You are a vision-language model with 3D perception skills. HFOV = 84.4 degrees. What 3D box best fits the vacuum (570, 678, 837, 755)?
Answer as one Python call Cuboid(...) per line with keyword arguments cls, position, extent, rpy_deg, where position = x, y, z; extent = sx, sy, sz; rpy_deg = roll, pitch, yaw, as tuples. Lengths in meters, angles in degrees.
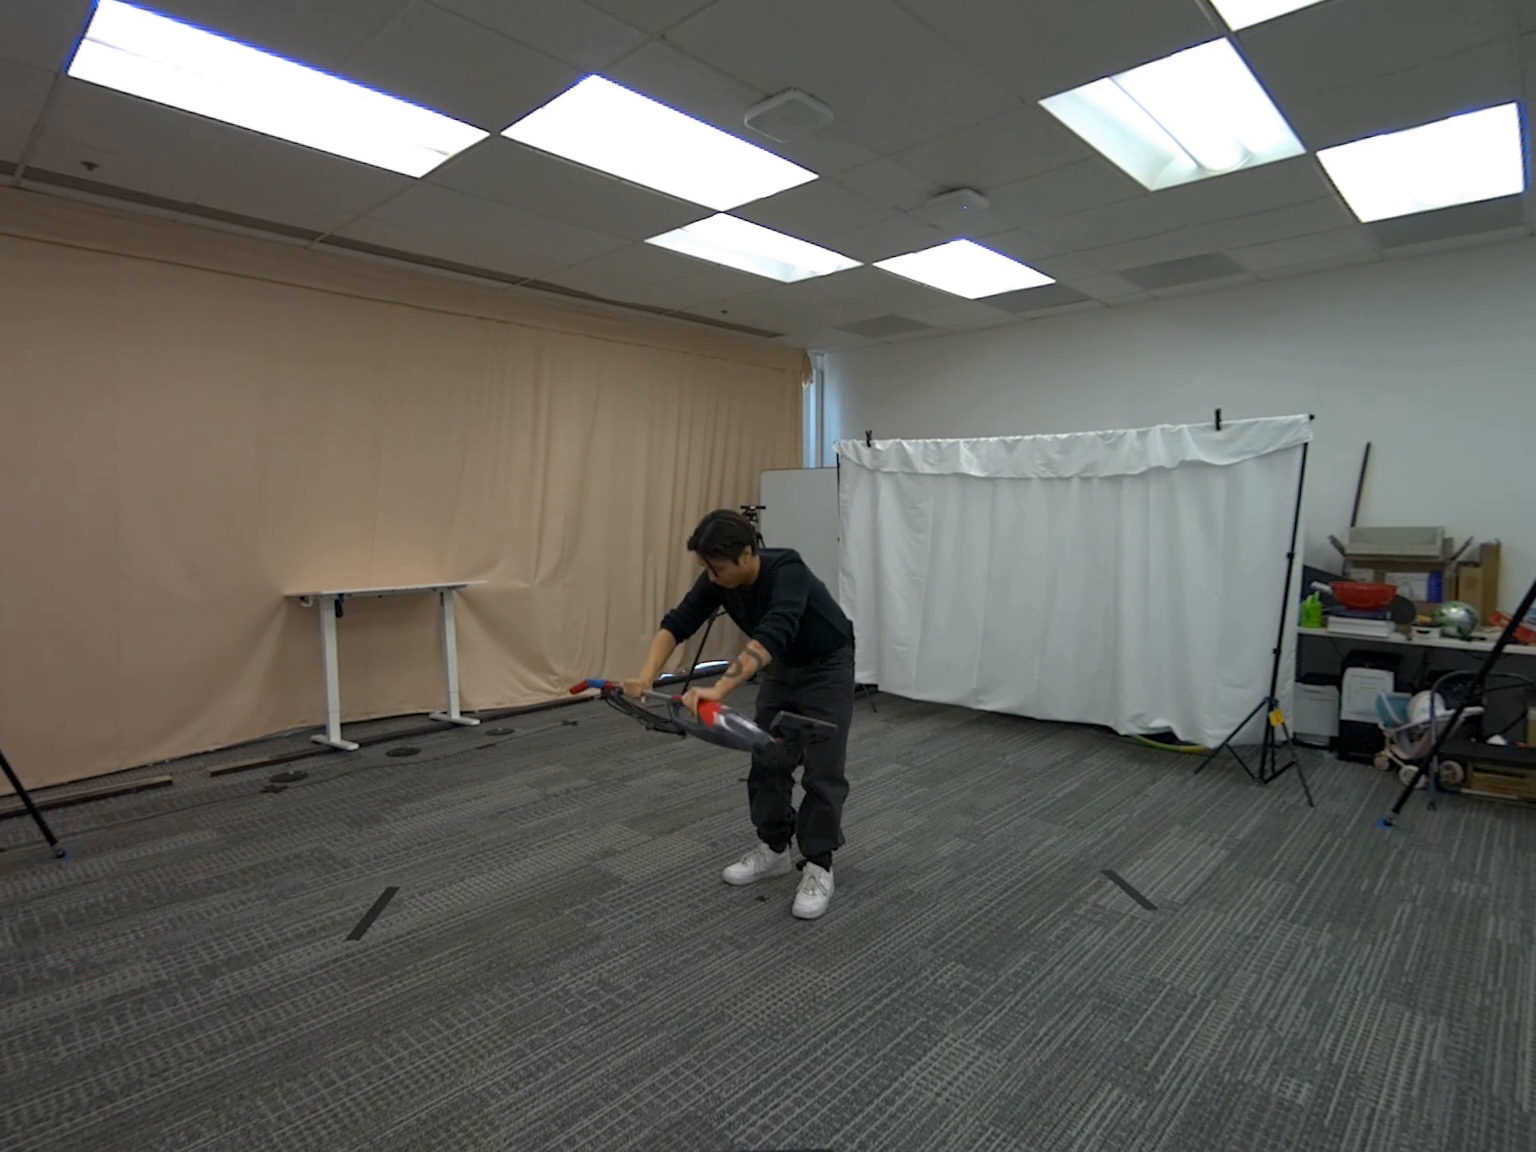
Cuboid(cls="vacuum", position=(-0.301, 0.431, 2.647), extent=(1.084, 0.144, 0.243), rpy_deg=(3, -14, 45))
